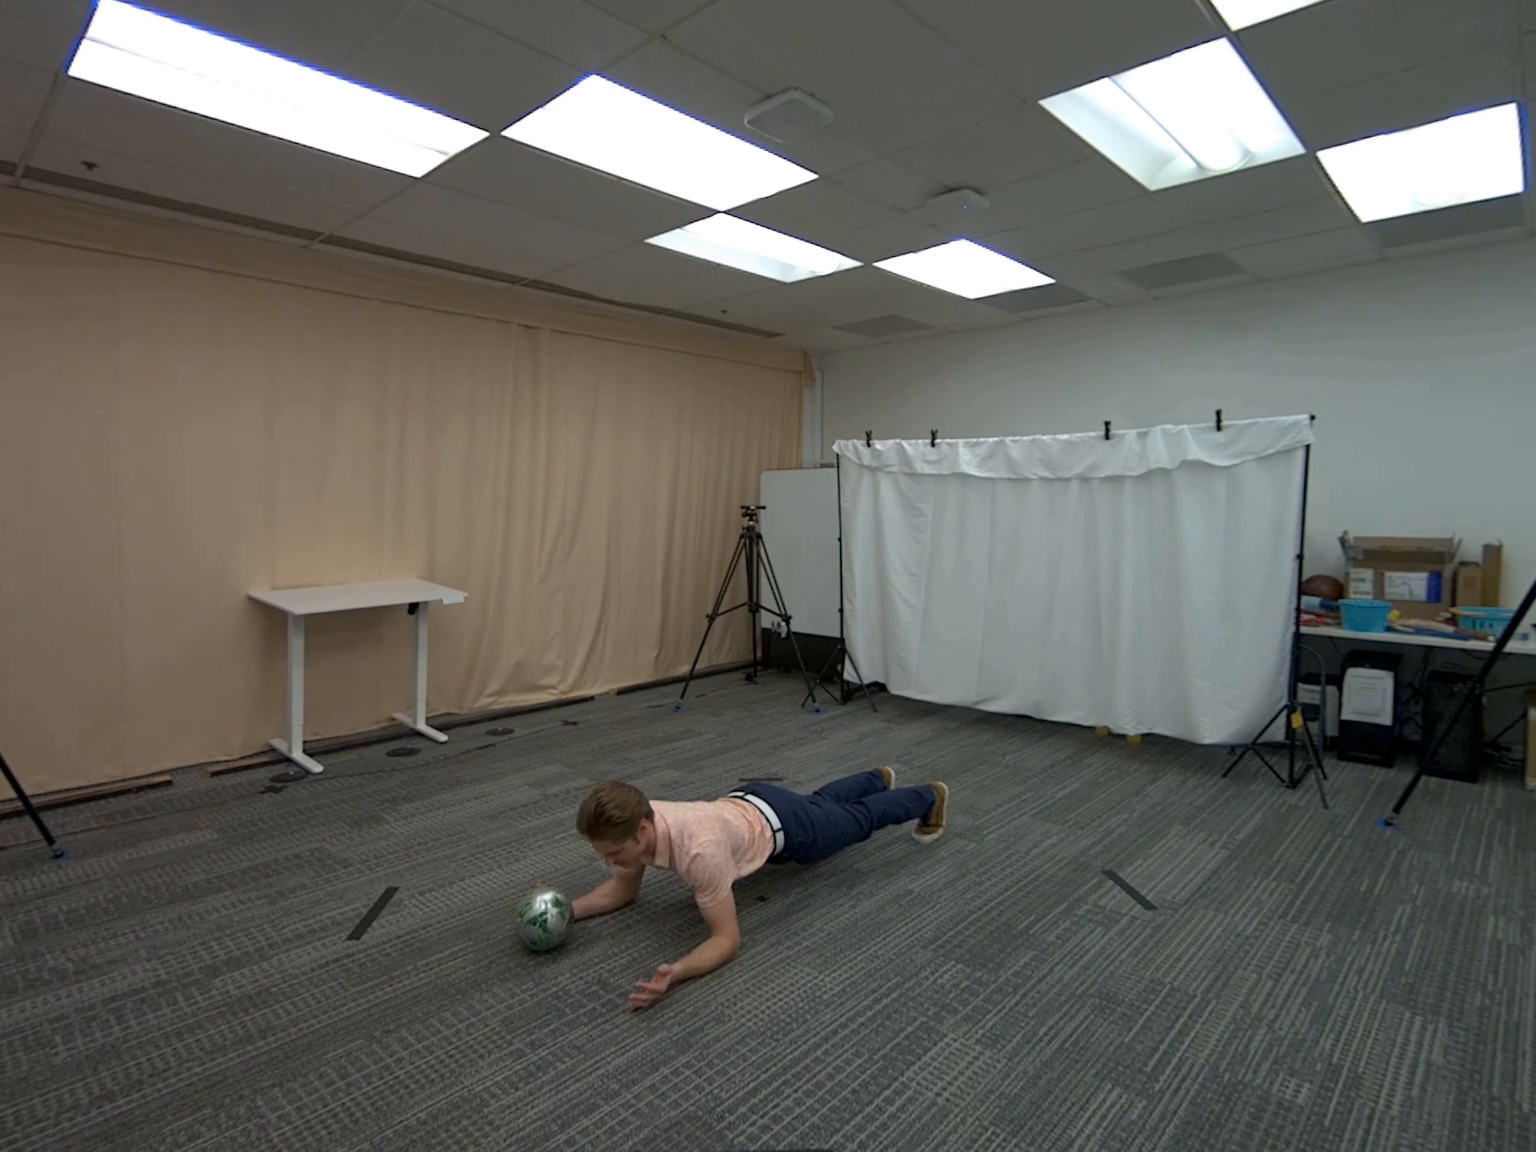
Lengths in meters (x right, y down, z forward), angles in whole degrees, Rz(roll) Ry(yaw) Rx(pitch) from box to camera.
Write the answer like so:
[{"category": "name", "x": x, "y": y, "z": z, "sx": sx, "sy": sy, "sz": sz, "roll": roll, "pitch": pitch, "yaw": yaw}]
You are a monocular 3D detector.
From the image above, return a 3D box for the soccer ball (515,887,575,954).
[{"category": "soccer ball", "x": -0.691, "y": 1.088, "z": 2.655, "sx": 0.187, "sy": 0.187, "sz": 0.188, "roll": 0, "pitch": 4, "yaw": -2}]
